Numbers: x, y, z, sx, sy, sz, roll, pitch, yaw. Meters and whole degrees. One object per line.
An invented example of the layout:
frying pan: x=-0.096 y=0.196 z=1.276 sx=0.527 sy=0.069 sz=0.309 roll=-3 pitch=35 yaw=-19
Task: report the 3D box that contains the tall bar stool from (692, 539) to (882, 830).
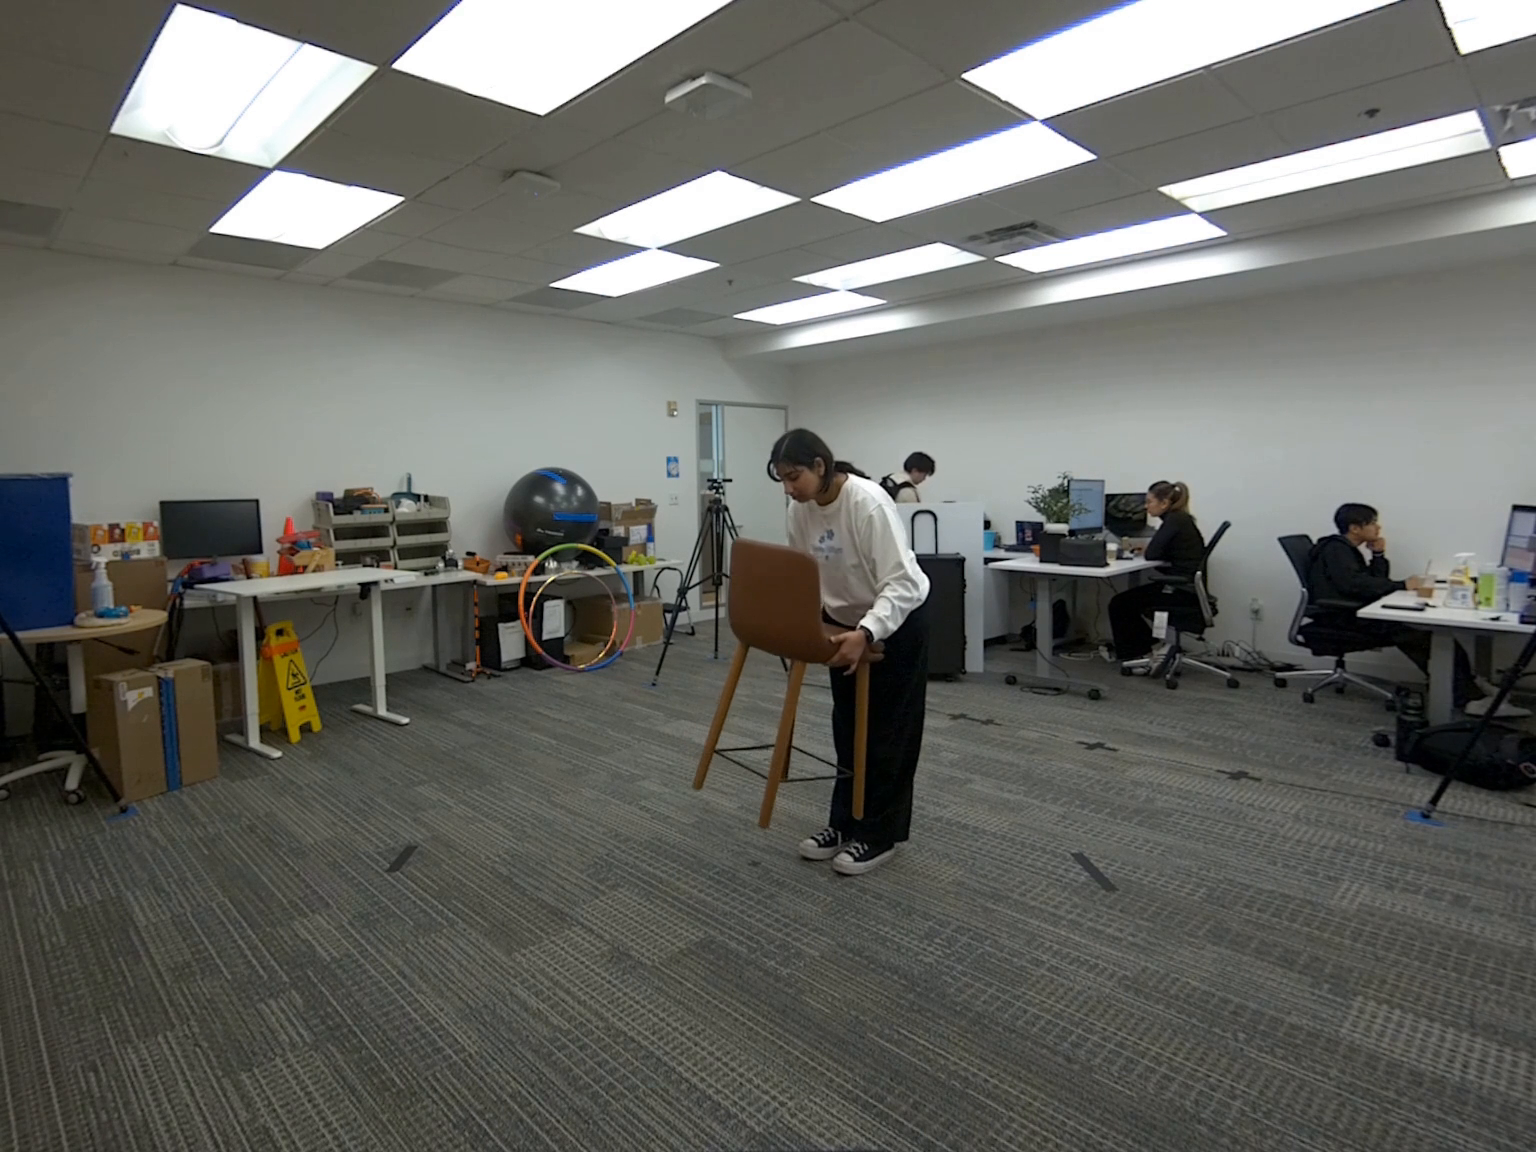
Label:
tall bar stool: x=0.093 y=0.347 z=2.910 sx=0.453 sy=0.888 sz=0.472 roll=5 pitch=3 yaw=-42
